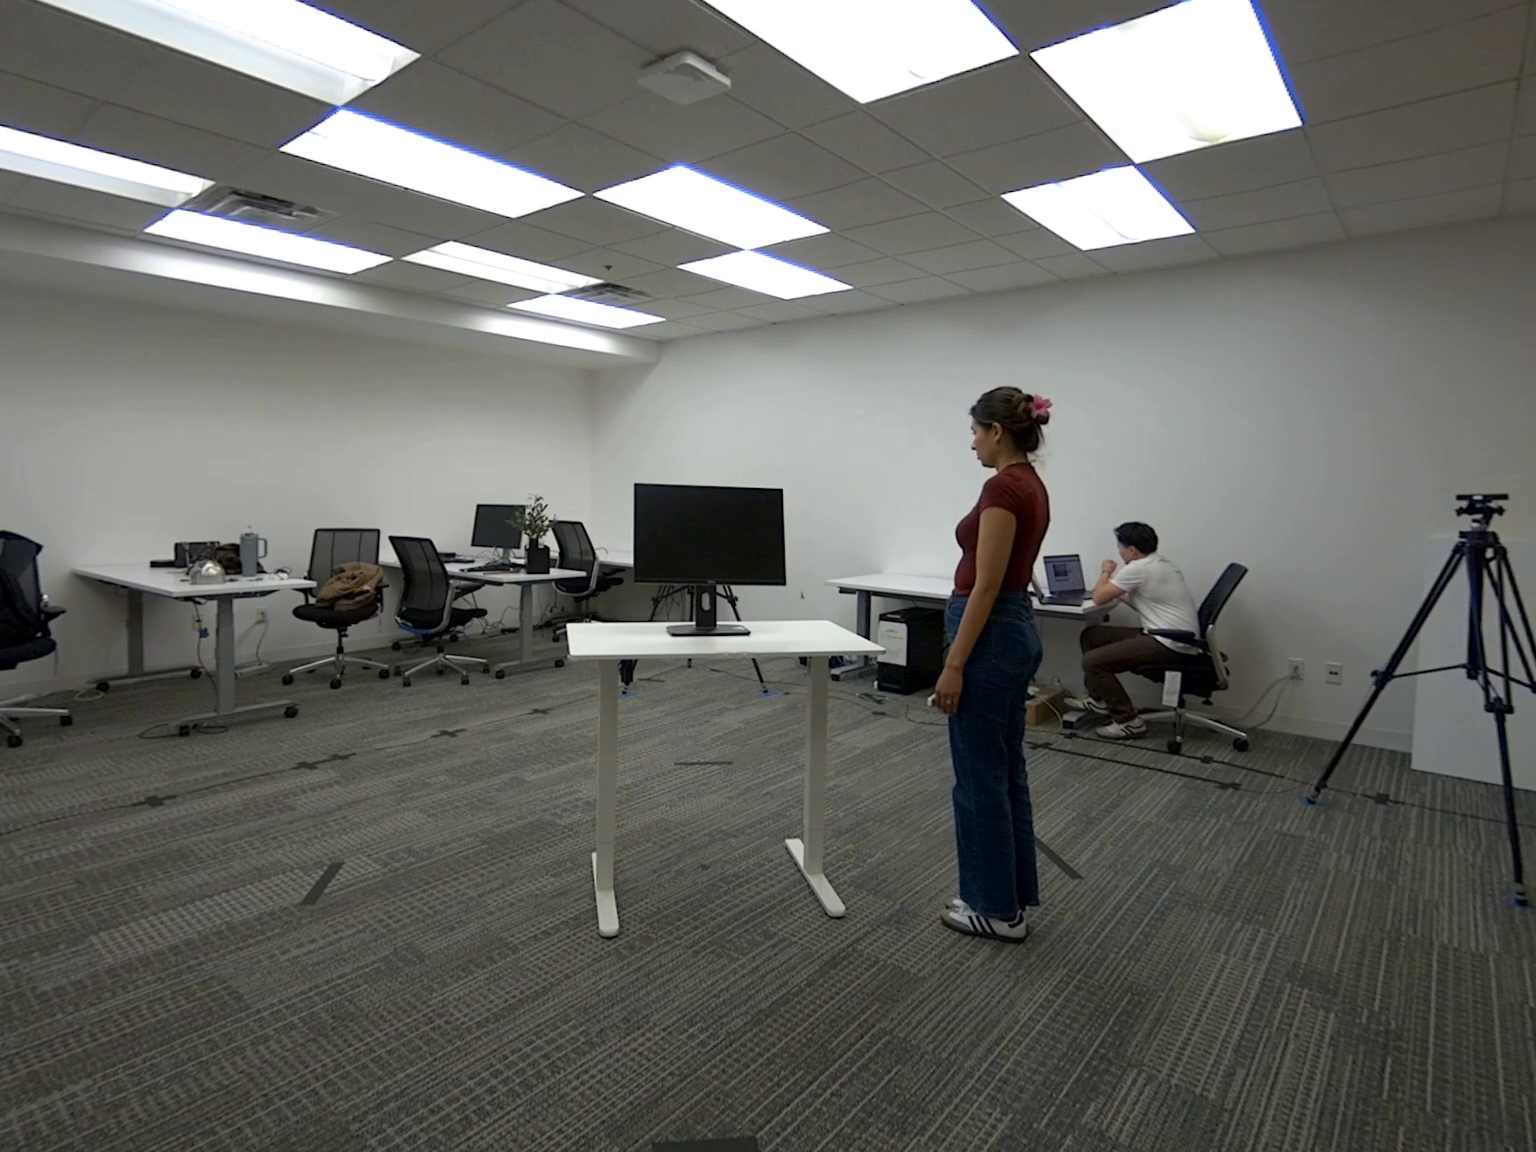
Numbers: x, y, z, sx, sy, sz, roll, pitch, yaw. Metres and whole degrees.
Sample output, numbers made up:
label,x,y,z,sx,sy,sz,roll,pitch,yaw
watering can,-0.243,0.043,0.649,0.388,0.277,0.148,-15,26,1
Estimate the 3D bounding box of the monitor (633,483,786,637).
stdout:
label,x,y,z,sx,sy,sz,roll,pitch,yaw
monitor,-0.222,-0.059,2.994,0.531,0.522,0.190,0,1,-14
